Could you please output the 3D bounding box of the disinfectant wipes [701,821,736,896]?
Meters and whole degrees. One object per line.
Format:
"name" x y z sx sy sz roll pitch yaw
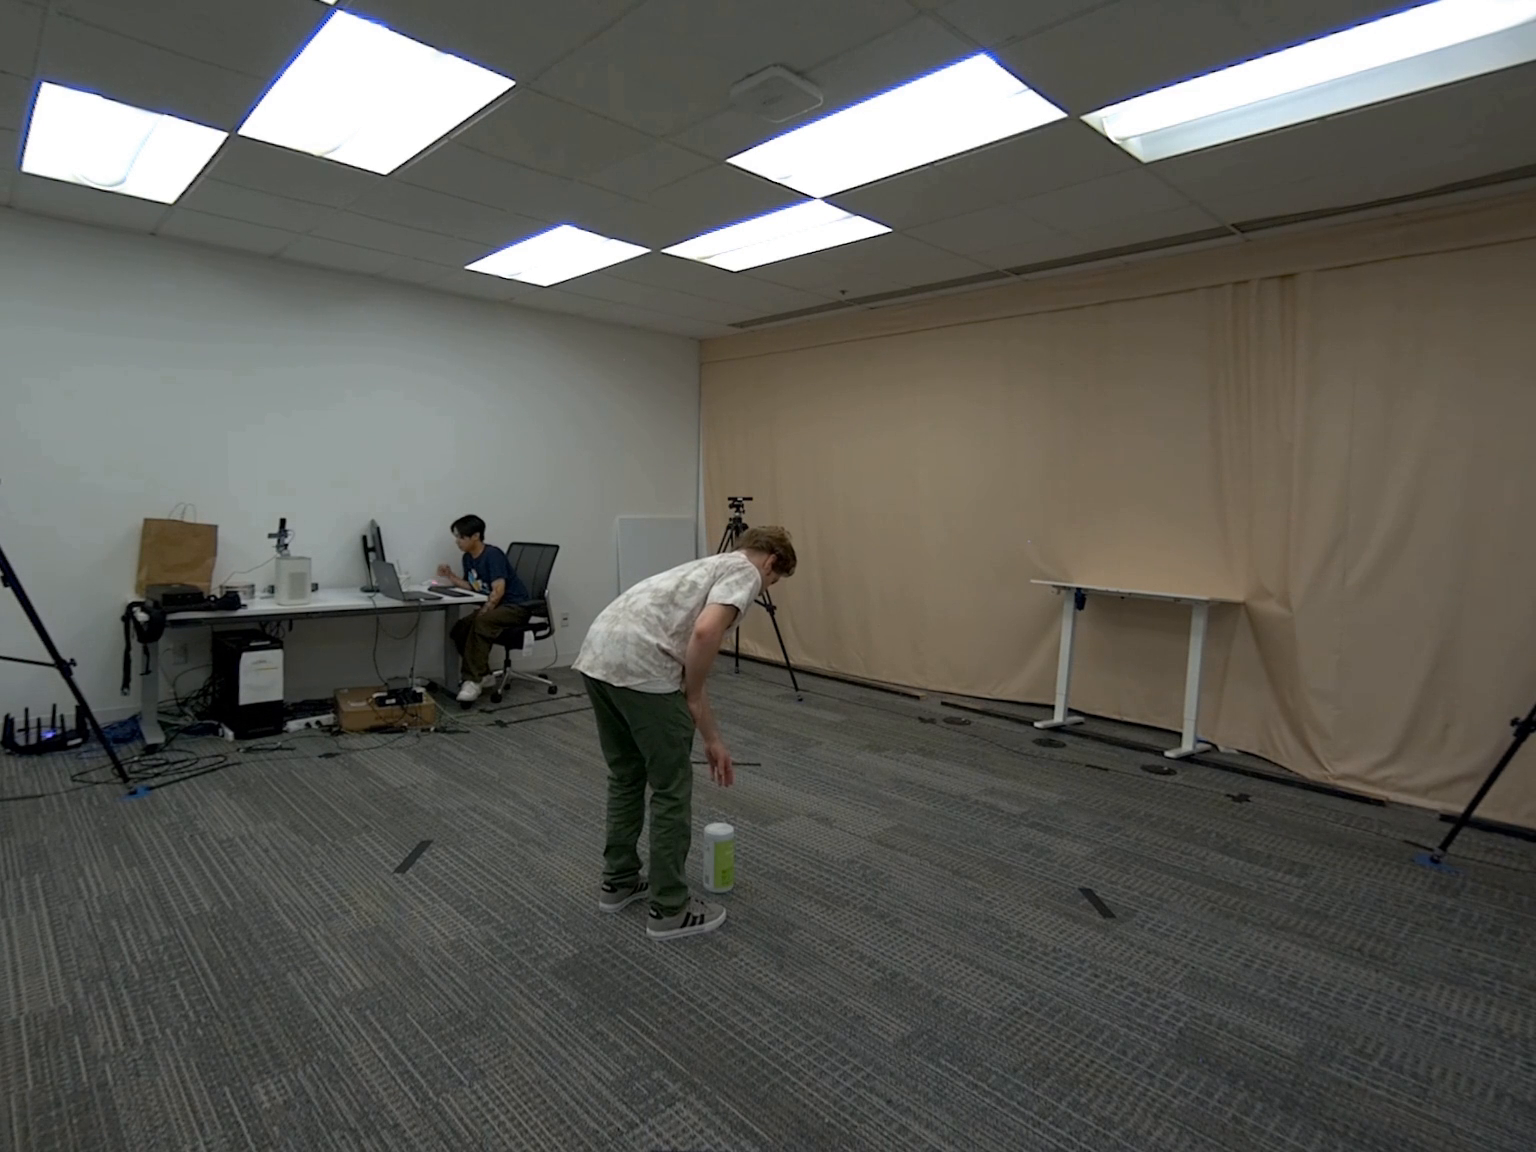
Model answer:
"disinfectant wipes" -0.184 1.011 3.007 0.118 0.217 0.118 1 3 -1
